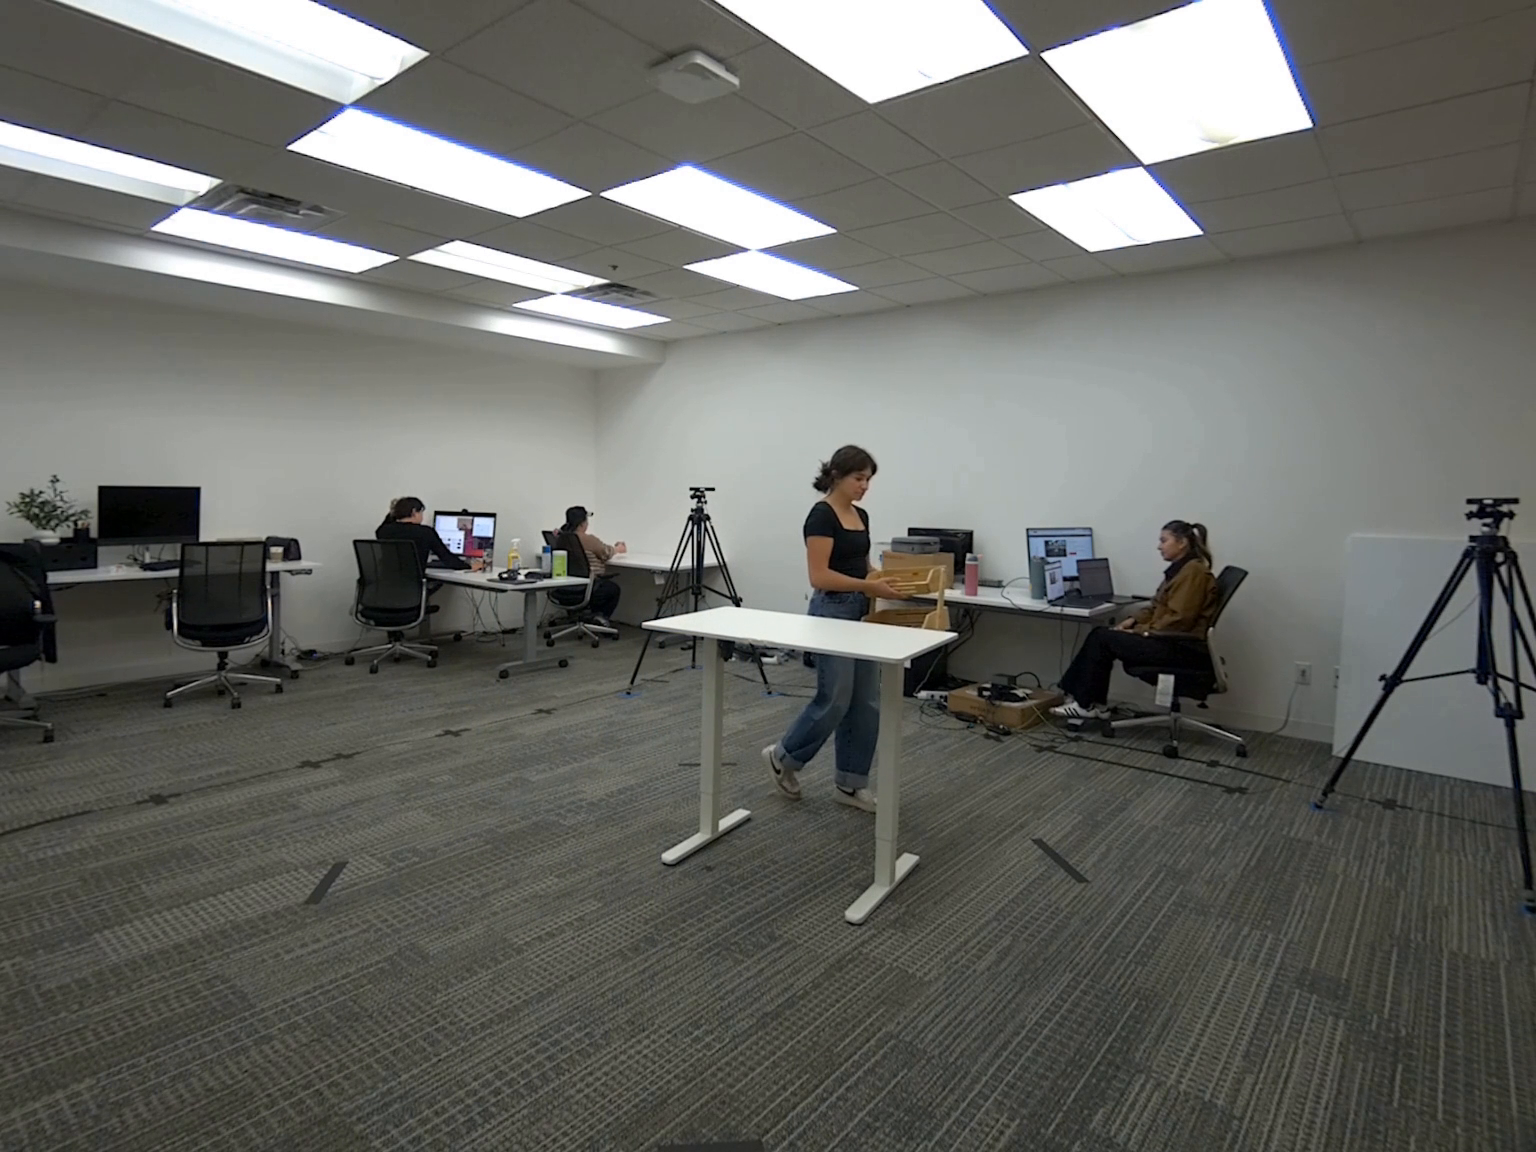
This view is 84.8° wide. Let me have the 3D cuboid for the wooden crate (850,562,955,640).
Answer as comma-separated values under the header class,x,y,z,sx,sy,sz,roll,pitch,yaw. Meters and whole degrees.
class,x,y,z,sx,sy,sz,roll,pitch,yaw
wooden crate,0.555,0.104,3.550,0.333,0.273,0.294,-5,3,37
